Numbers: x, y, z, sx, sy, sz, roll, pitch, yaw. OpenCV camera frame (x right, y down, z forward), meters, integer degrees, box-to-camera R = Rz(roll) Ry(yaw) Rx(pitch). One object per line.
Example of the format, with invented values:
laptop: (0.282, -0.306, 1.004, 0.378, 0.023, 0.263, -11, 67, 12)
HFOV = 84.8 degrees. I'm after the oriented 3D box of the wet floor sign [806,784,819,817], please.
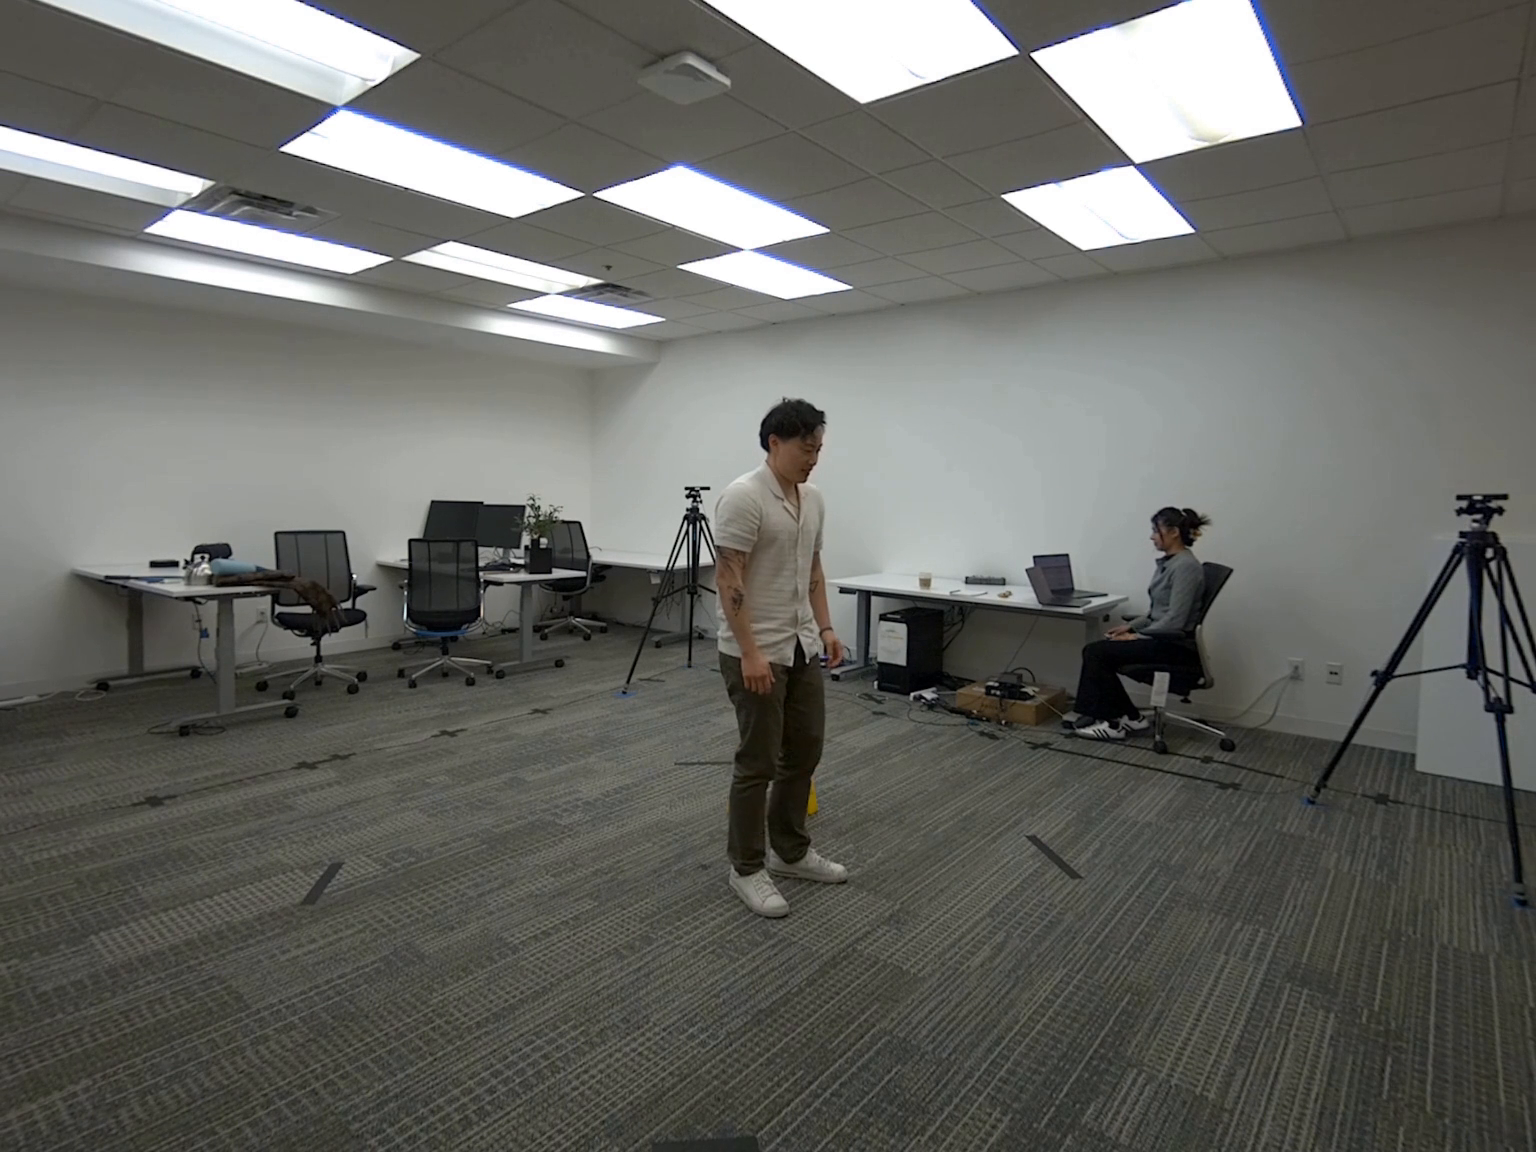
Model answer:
wet floor sign: (0.021, 0.689, 3.645, 0.299, 0.644, 0.274, 3, 4, 33)
